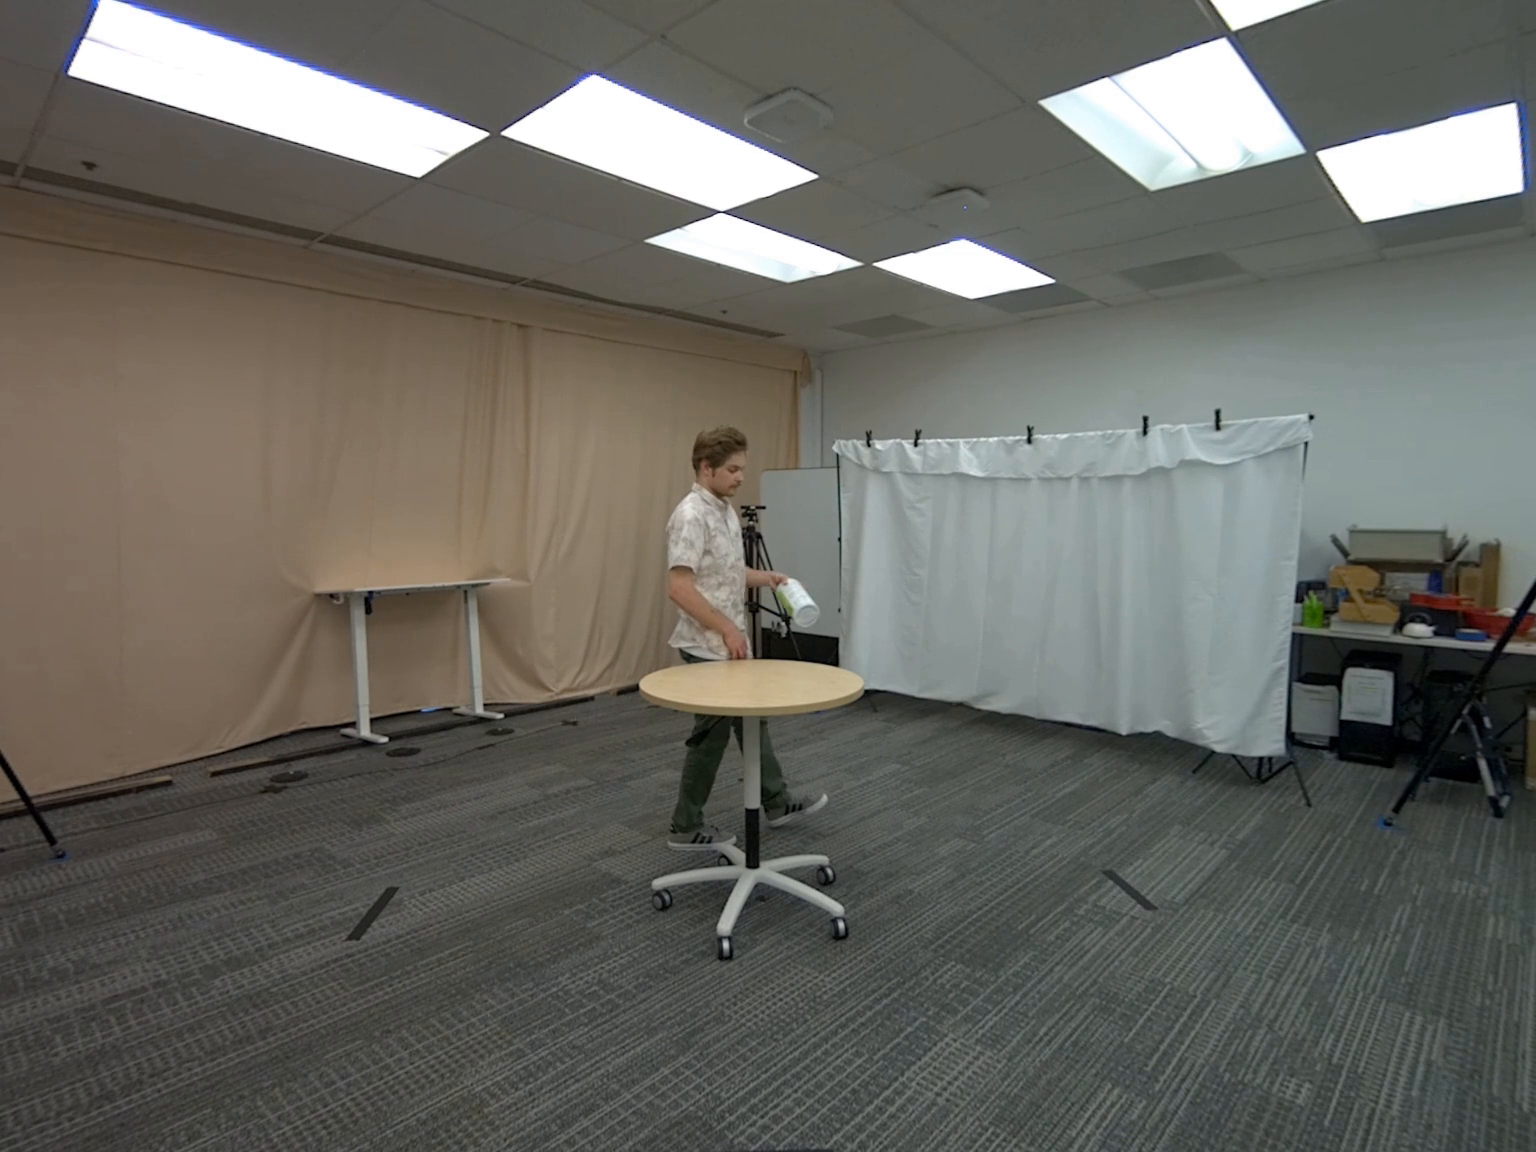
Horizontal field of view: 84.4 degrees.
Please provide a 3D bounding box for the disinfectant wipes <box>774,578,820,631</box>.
[{"bbox_3d":[0.126,0.105,3.330,0.115,0.116,0.224,-1,29,-19],"label":"disinfectant wipes"}]
